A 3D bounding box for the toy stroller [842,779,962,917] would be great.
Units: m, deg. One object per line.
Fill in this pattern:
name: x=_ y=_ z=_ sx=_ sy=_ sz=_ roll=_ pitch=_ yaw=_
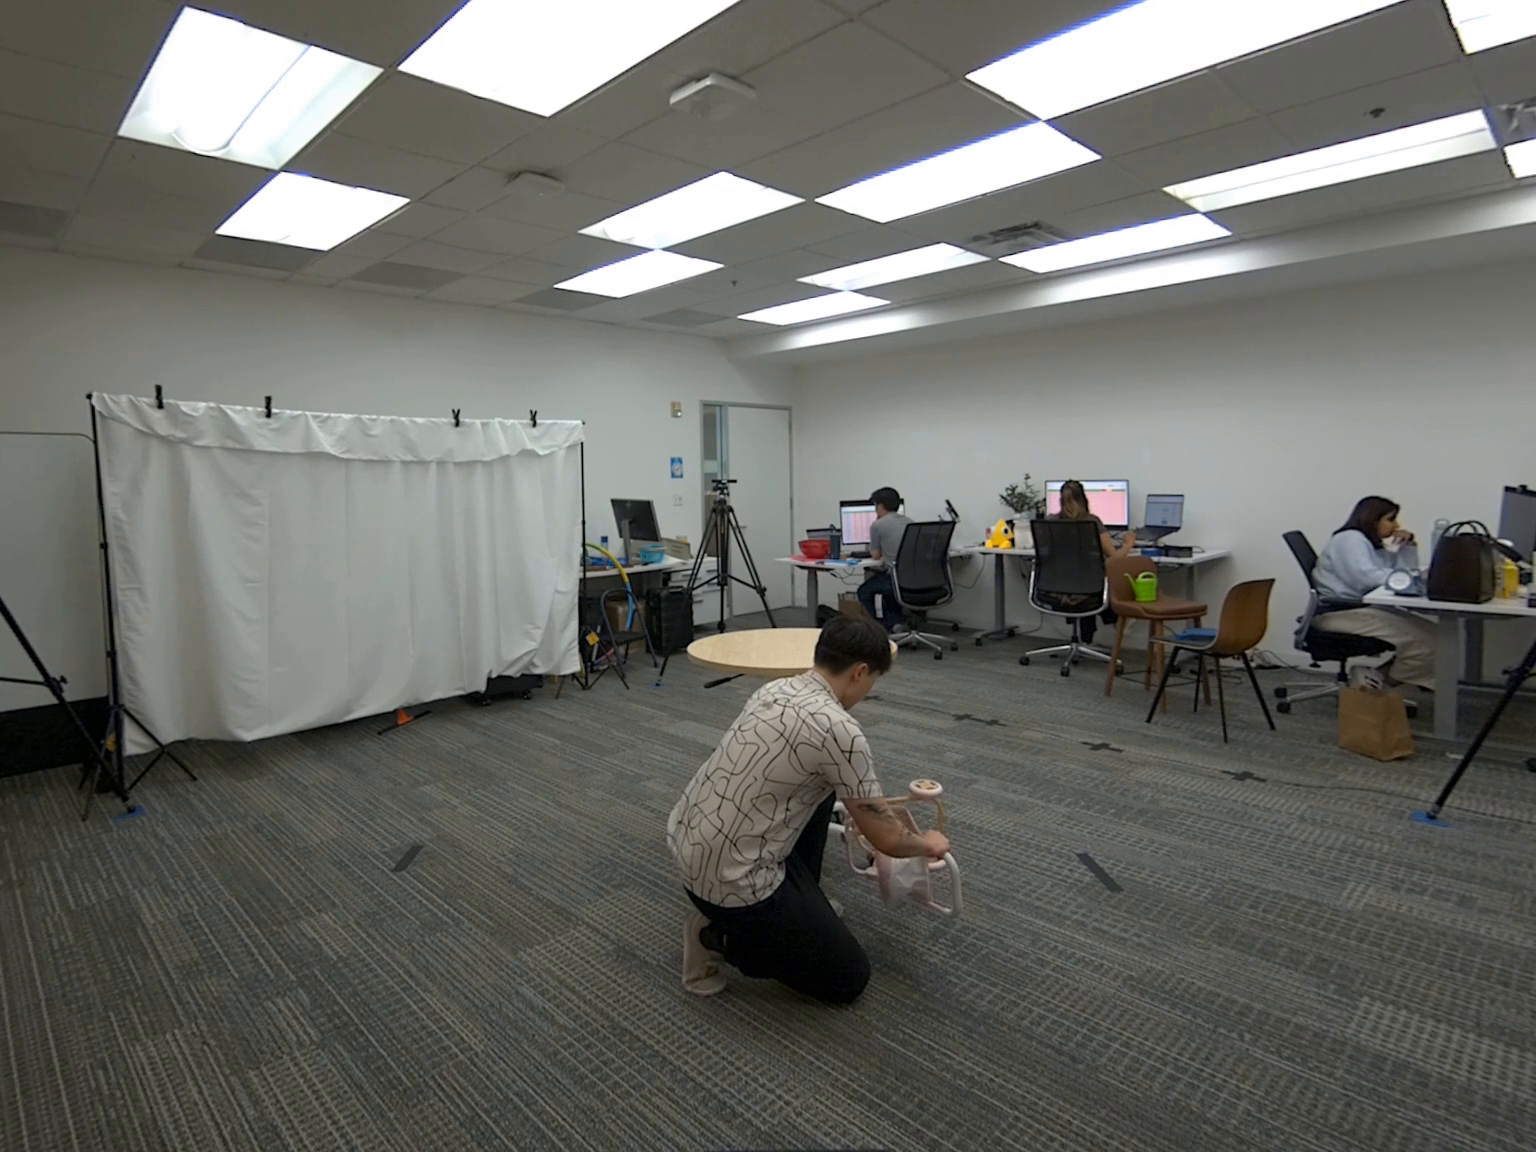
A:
toy stroller: x=0.408 y=0.842 z=2.675 sx=0.344 sy=0.279 sz=0.534 roll=0 pitch=9 yaw=8
